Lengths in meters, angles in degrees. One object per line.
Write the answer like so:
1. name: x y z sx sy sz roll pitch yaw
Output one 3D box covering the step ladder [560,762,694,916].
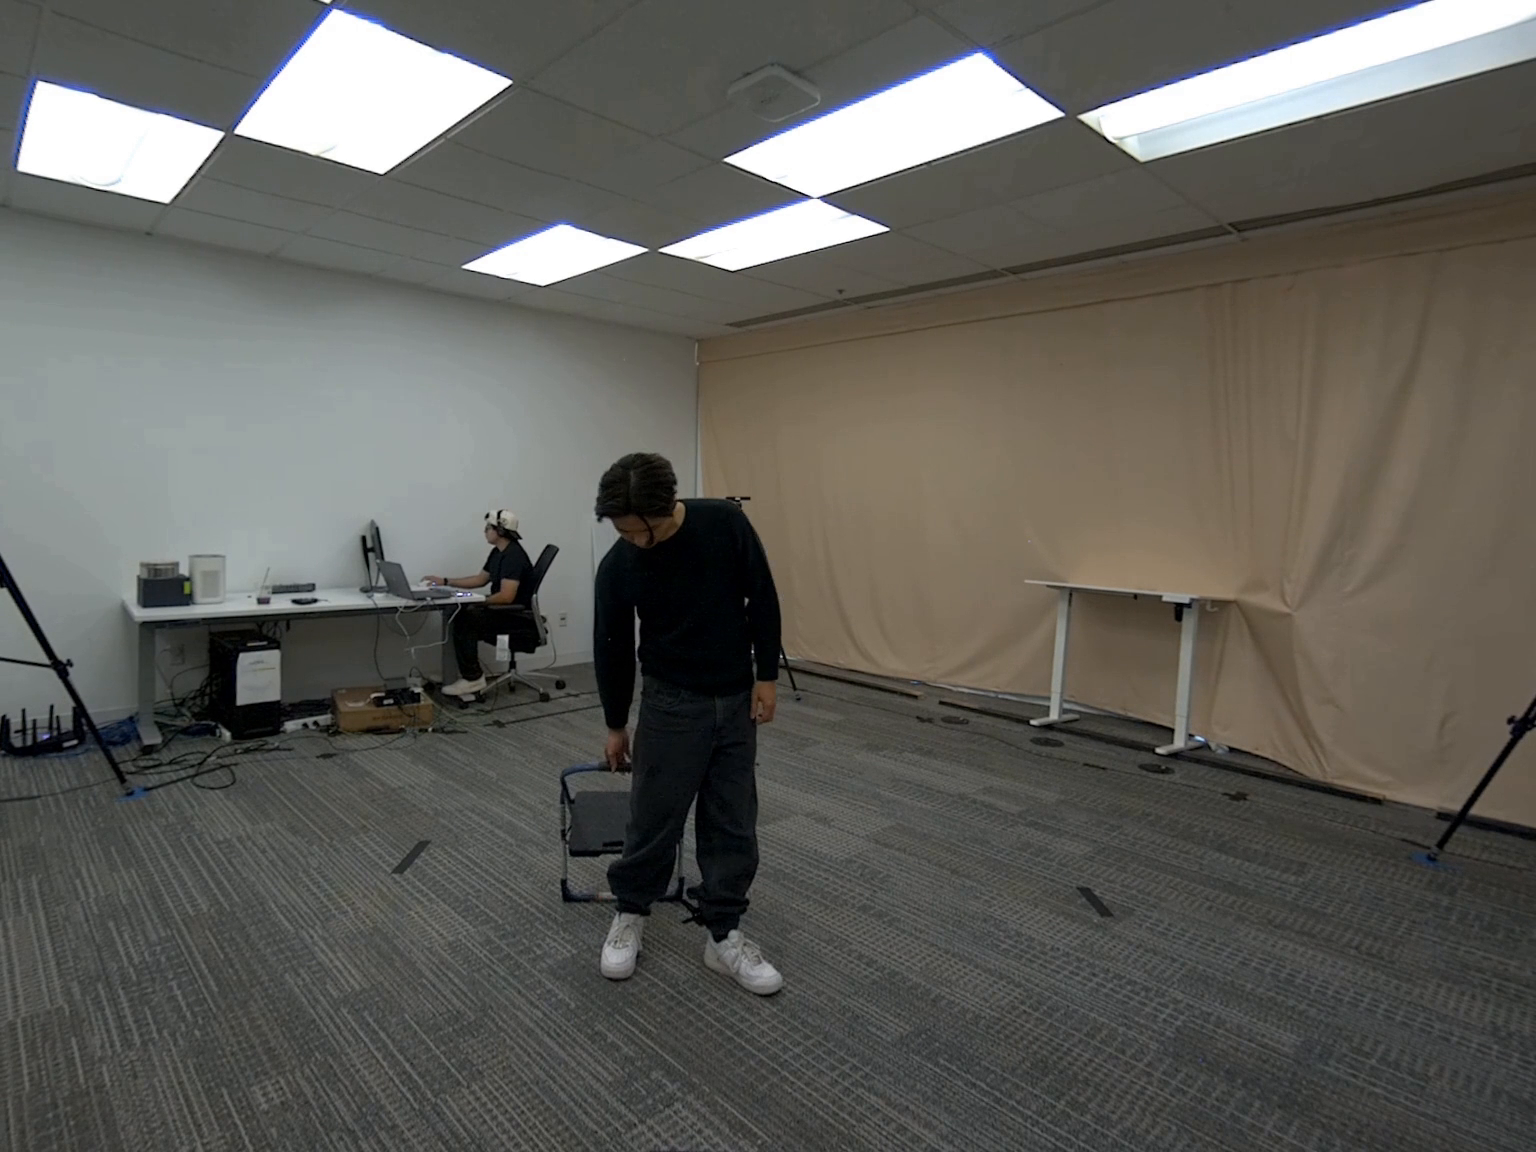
1. step ladder: -0.497 0.783 2.848 0.429 0.594 0.357 1 38 -5
